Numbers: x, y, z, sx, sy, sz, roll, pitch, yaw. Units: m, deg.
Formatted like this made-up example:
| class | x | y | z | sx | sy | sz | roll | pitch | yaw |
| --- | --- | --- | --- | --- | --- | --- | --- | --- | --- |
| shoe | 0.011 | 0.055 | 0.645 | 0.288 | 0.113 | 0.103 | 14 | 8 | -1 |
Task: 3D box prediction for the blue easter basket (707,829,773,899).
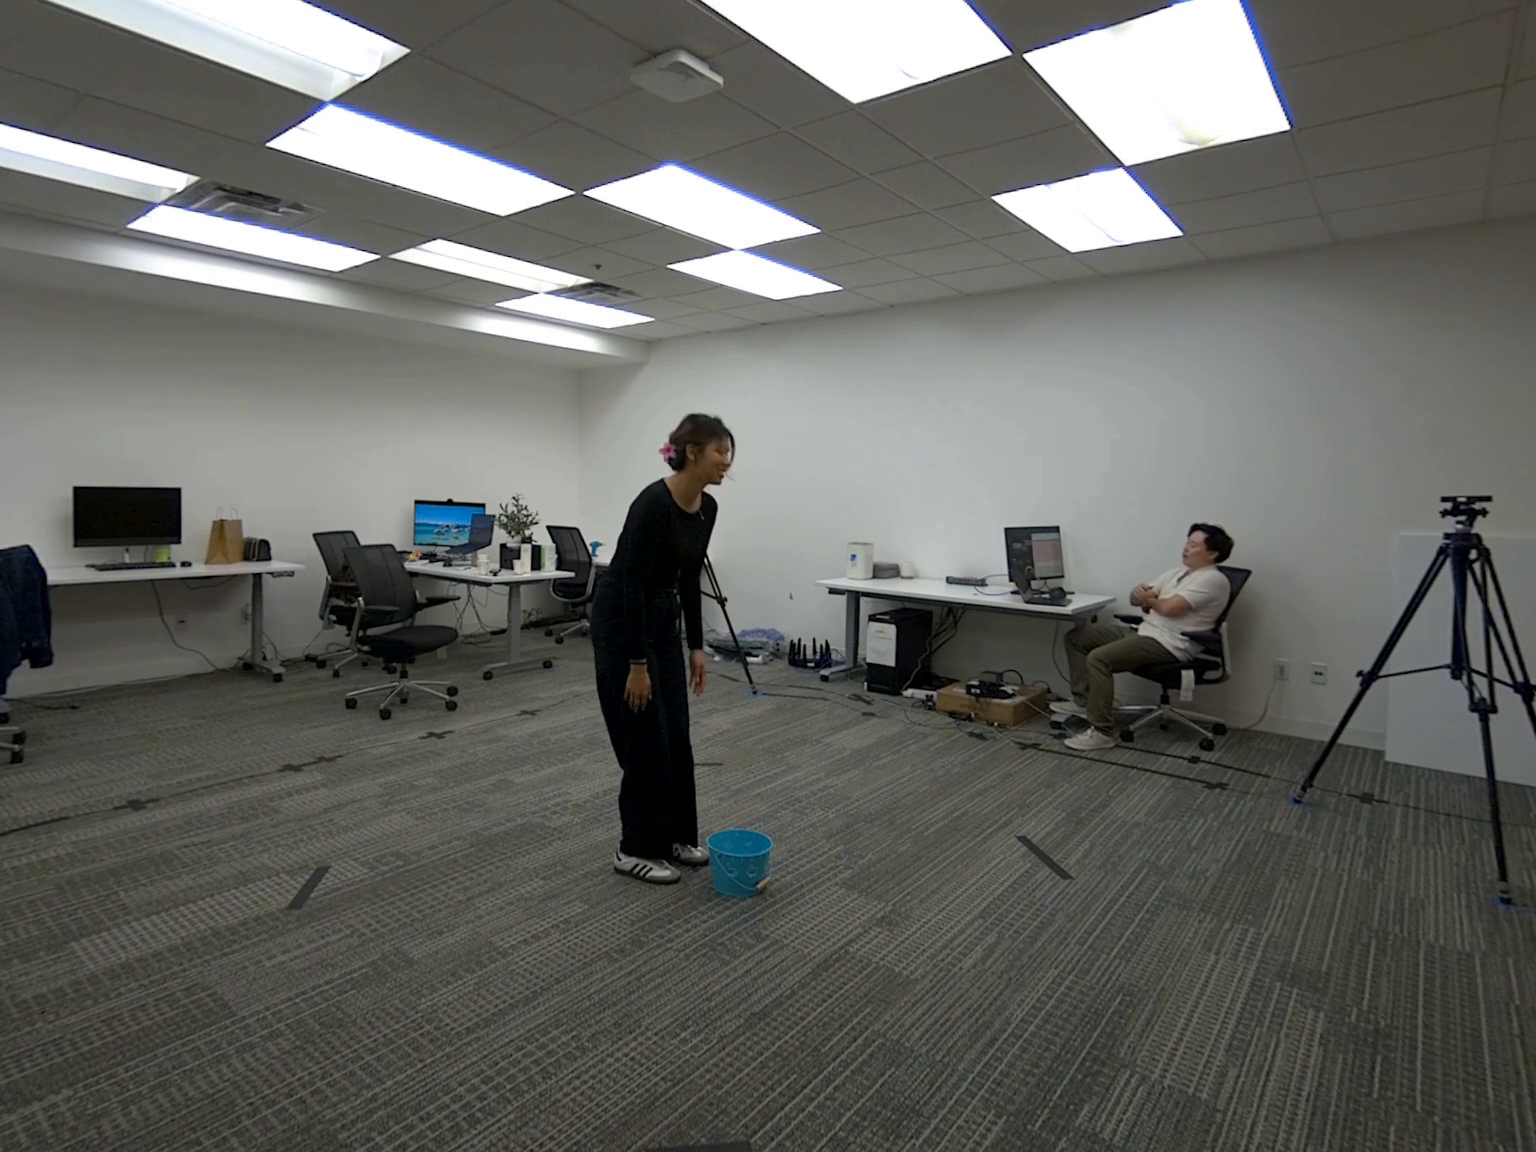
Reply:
| class | x | y | z | sx | sy | sz | roll | pitch | yaw |
| --- | --- | --- | --- | --- | --- | --- | --- | --- | --- |
| blue easter basket | -0.108 | 1.003 | 2.978 | 0.243 | 0.155 | 0.244 | 1 | 4 | -2 |
